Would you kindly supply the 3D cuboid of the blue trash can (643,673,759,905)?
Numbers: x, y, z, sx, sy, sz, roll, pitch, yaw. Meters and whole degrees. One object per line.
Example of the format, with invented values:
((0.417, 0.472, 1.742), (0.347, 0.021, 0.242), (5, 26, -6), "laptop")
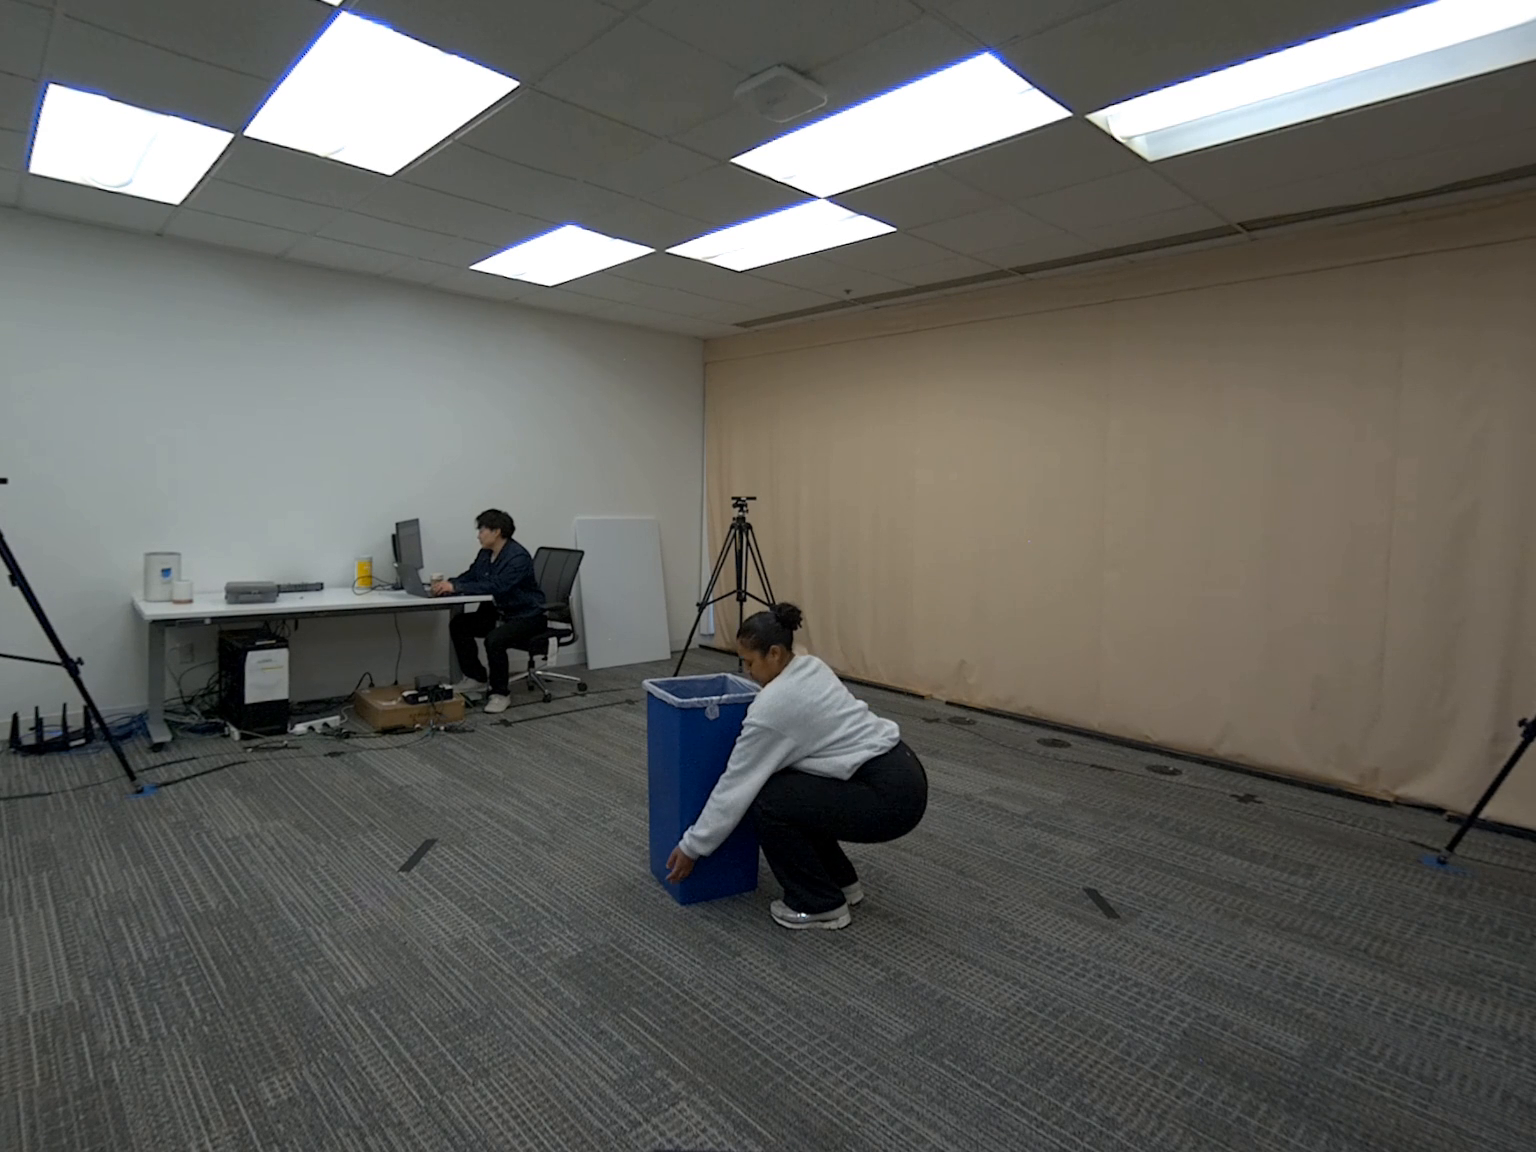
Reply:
((-0.233, 0.748, 3.056), (0.367, 0.712, 0.386), (-1, 4, -28), "blue trash can")
